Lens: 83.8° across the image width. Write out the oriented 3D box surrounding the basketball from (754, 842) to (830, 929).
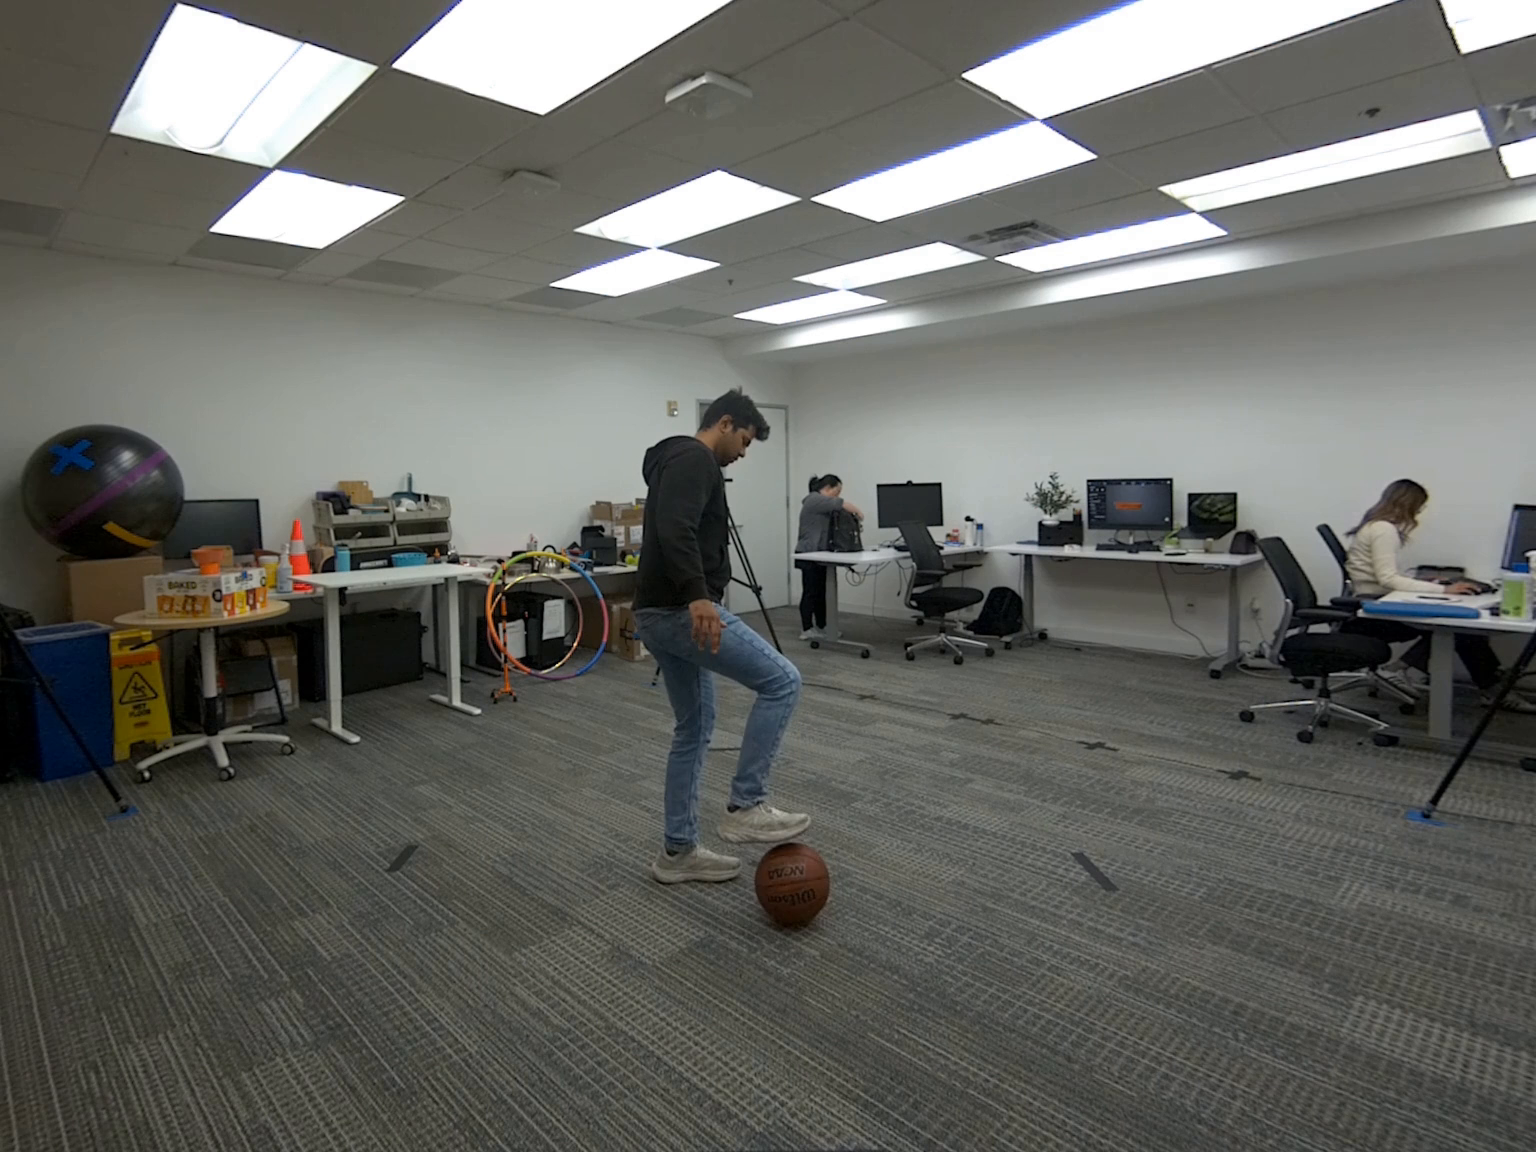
[{"bbox_3d":[0.080,0.968,2.701,0.236,0.235,0.237,-1,5,-2],"label":"basketball"}]
